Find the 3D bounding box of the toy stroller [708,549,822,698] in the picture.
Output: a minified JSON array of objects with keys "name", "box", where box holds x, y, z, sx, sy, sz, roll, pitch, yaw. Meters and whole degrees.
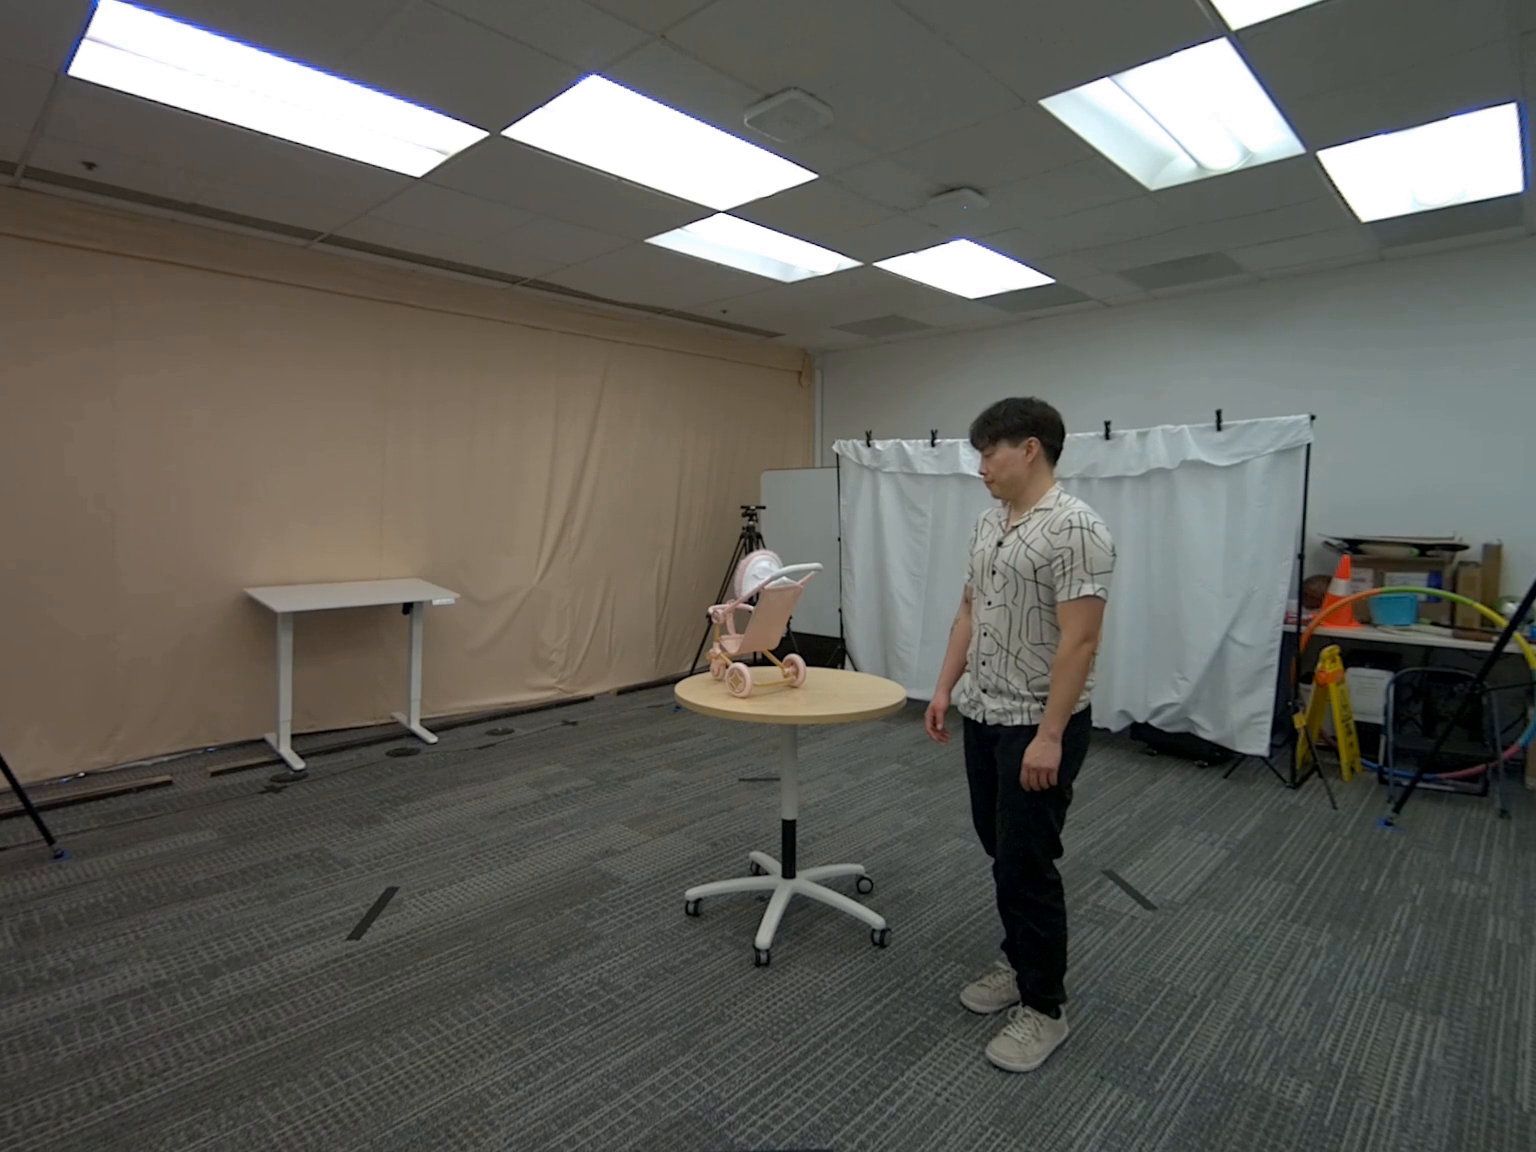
[{"name":"toy stroller","box":[-0.038,0.154,2.784,0.273,0.531,0.354,-2,21,-39]}]
